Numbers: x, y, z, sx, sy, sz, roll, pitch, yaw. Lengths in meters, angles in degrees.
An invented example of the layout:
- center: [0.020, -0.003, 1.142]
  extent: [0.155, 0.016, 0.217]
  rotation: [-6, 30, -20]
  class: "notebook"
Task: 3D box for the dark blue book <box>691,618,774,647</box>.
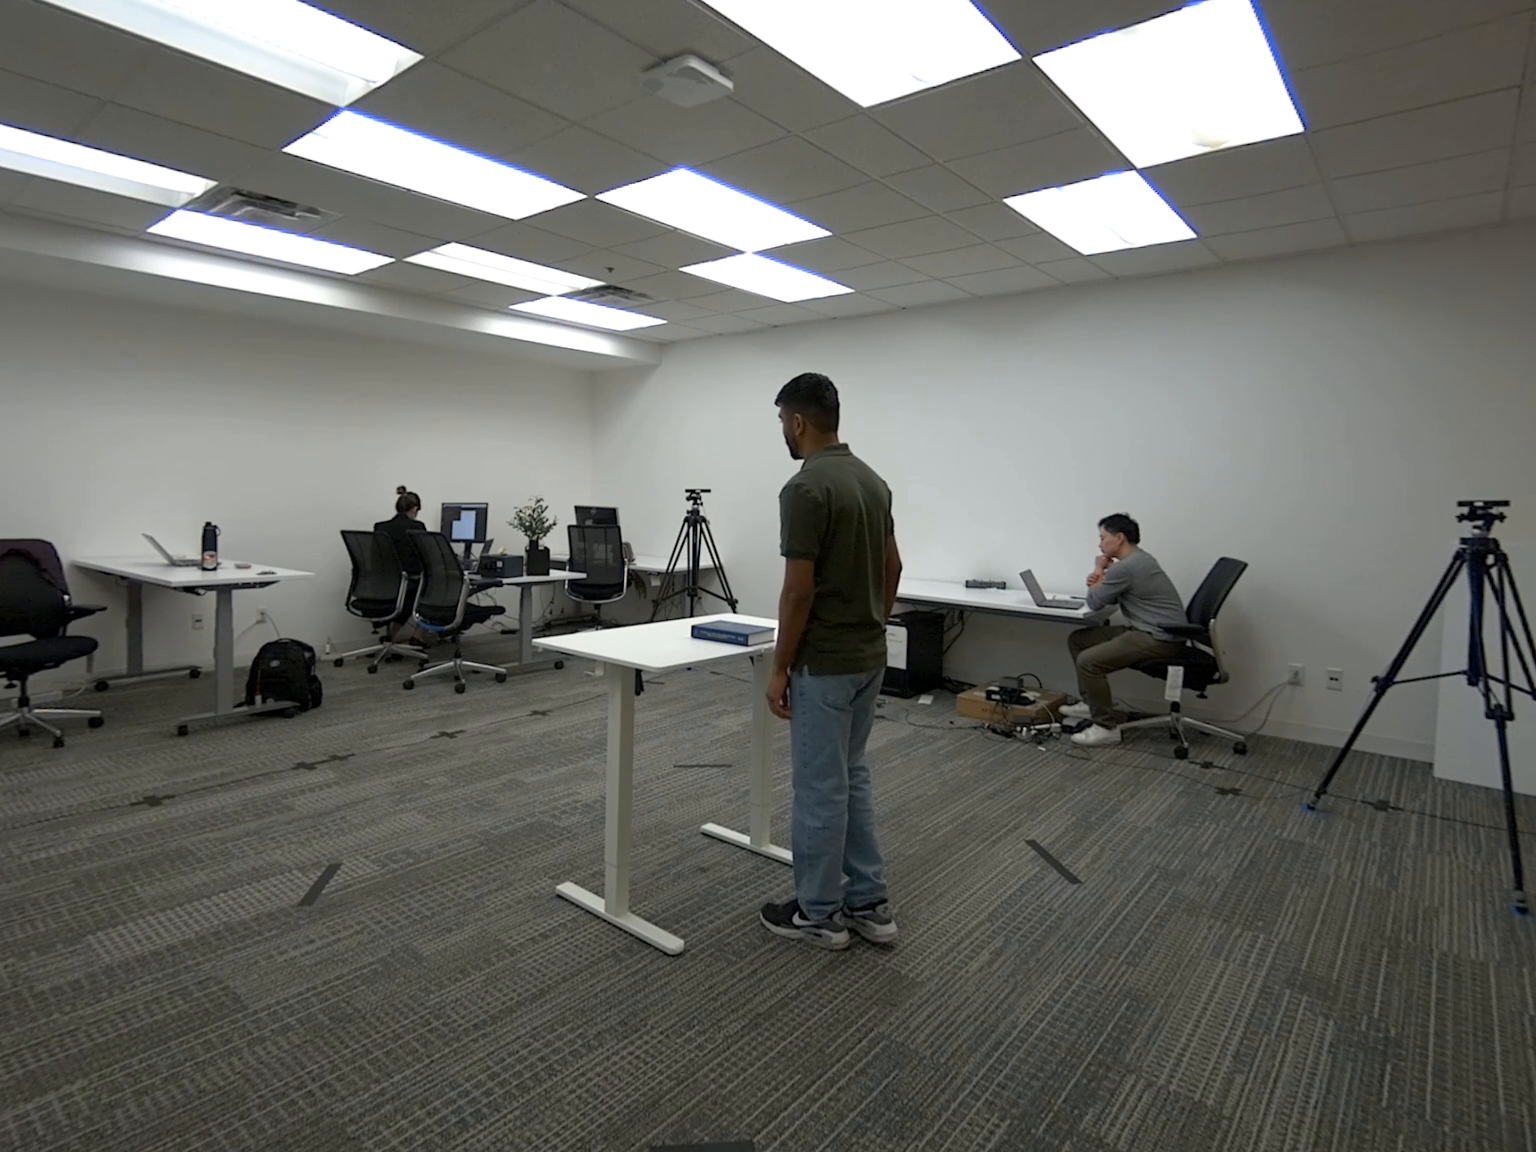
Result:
- center: [-0.120, 0.195, 2.900]
  extent: [0.253, 0.045, 0.159]
  rotation: [5, 7, 36]
  class: "dark blue book"
